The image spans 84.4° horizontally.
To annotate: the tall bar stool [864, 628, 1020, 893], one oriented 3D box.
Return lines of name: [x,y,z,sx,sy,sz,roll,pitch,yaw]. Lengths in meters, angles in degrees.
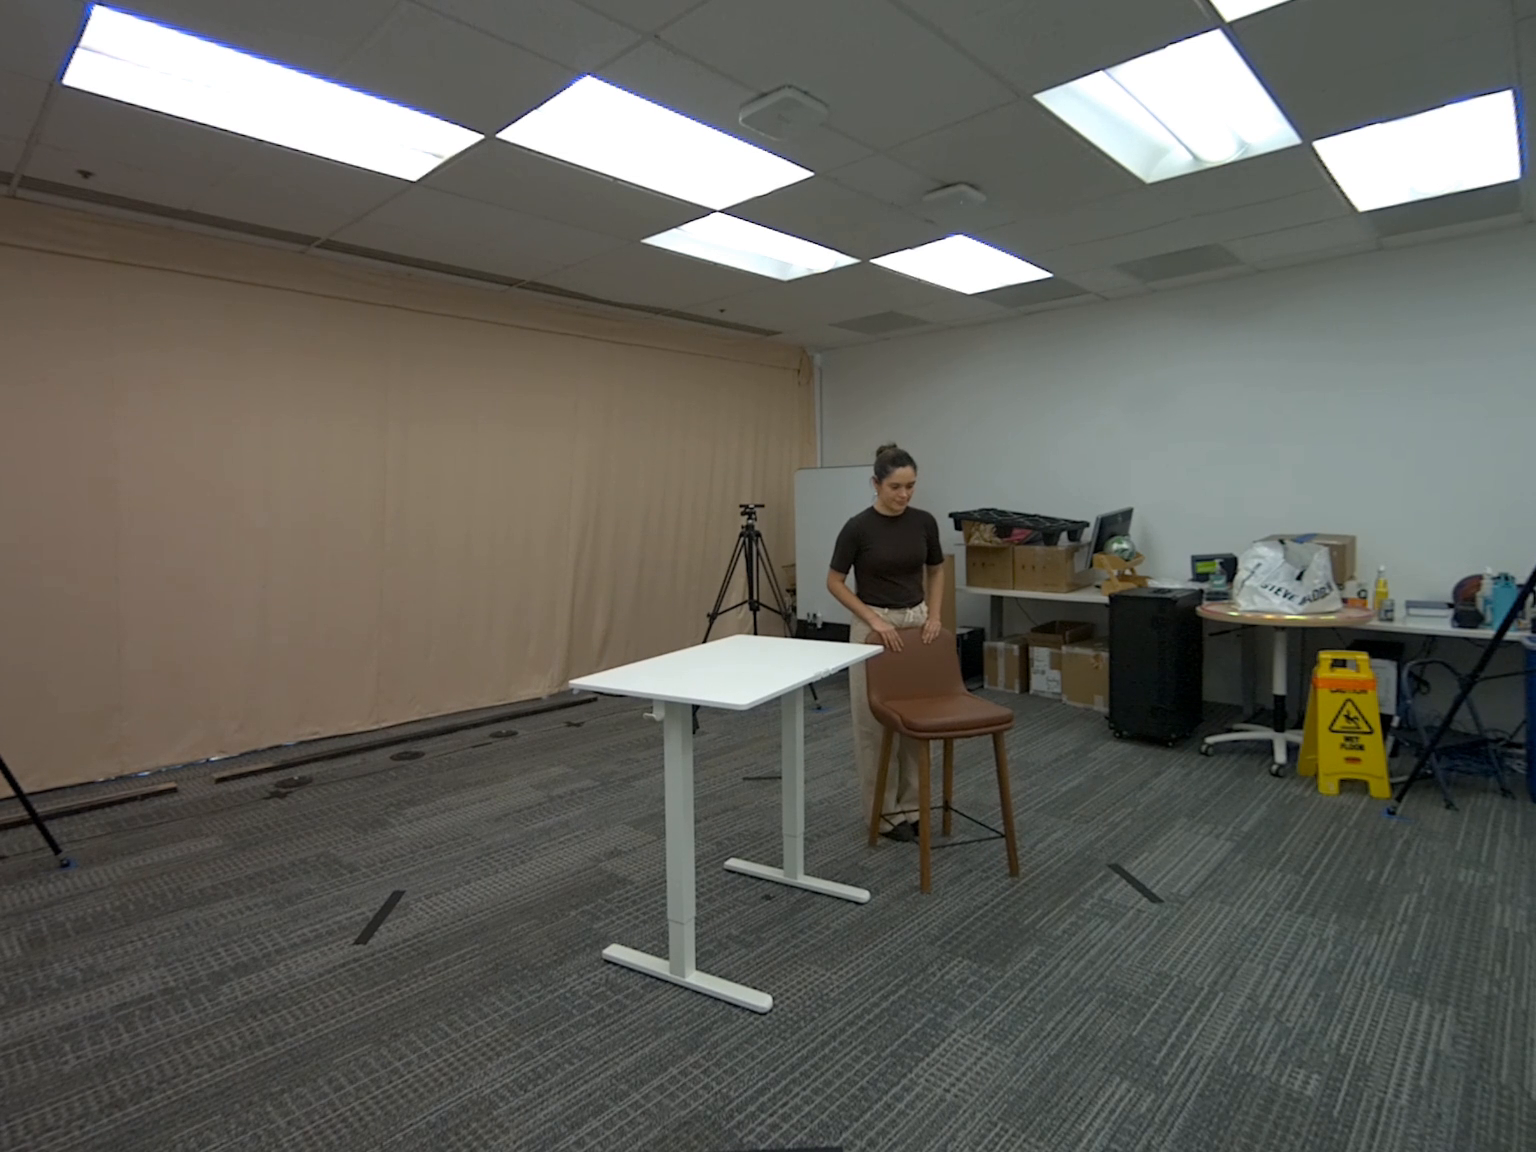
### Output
tall bar stool: [0.655,0.666,3.244,0.448,0.889,0.476,-2,1,-18]
